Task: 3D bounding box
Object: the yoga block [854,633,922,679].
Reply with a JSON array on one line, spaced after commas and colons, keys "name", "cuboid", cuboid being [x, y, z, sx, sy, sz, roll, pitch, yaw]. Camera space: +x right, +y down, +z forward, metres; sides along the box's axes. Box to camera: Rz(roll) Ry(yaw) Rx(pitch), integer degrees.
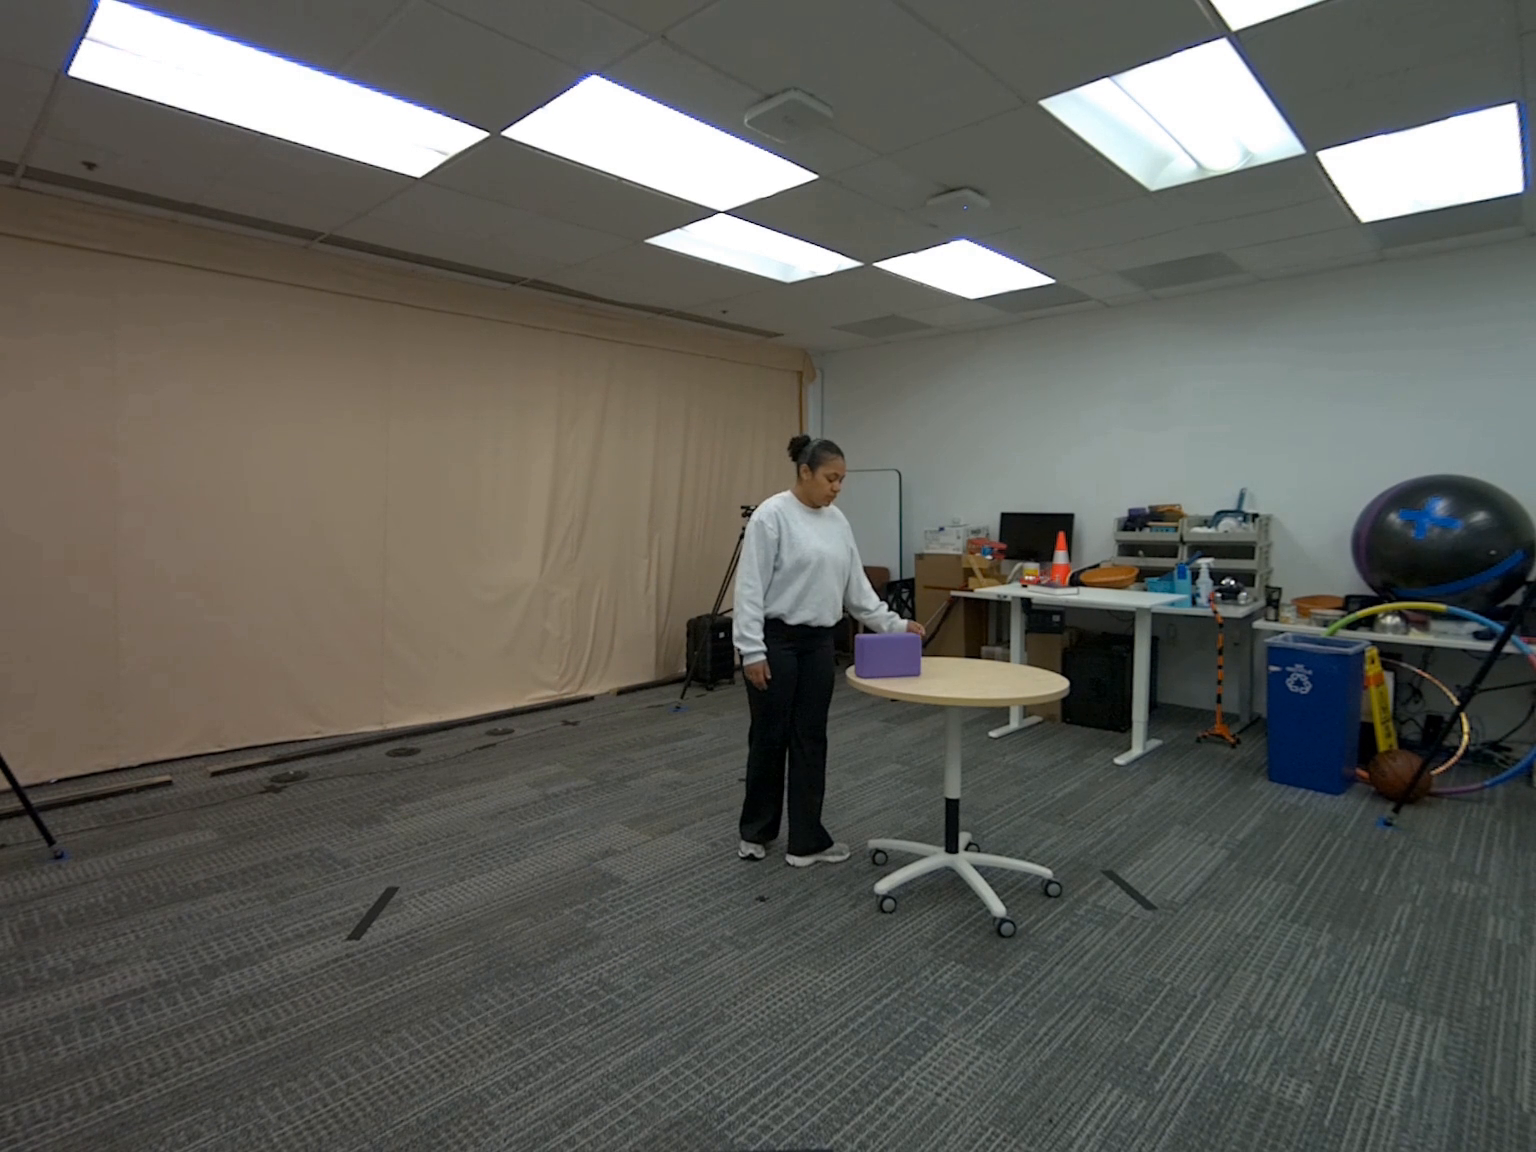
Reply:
[{"name": "yoga block", "cuboid": [0.435, 0.285, 2.999, 0.226, 0.148, 0.077, 0, 6, -11]}]
